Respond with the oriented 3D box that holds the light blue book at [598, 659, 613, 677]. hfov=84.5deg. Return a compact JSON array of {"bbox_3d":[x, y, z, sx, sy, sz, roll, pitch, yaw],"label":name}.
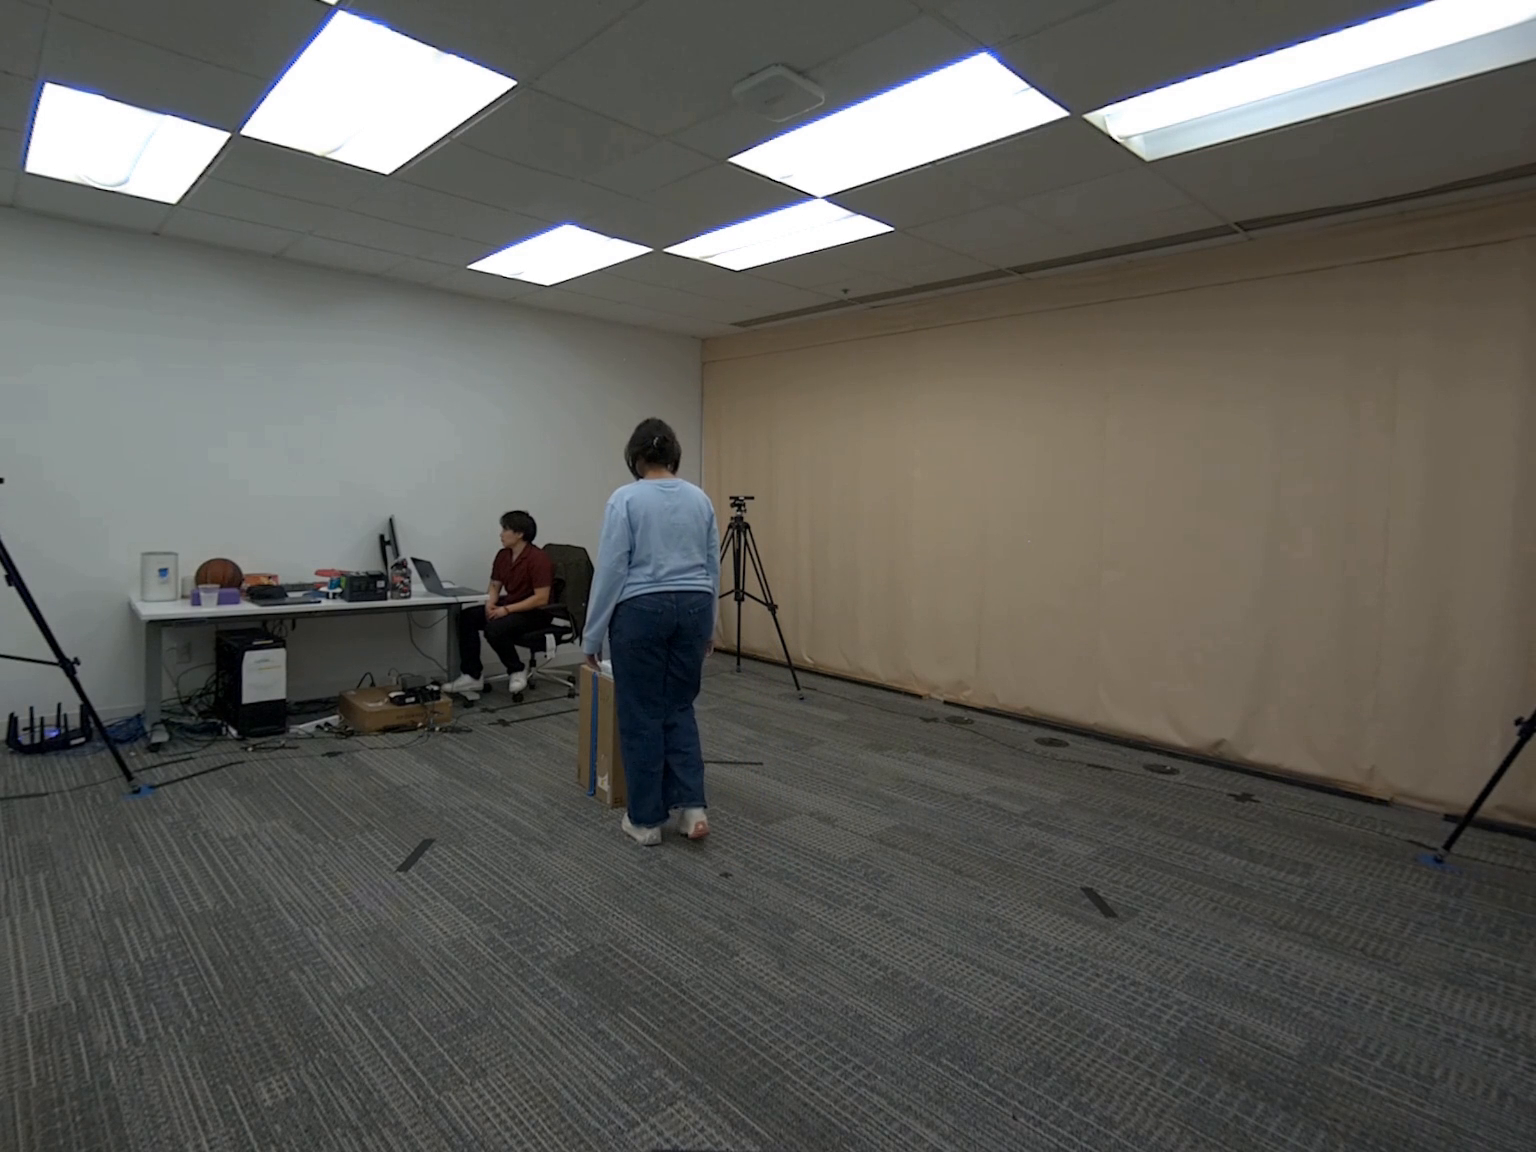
[{"bbox_3d":[-0.638,0.432,3.856,0.187,0.059,0.267,-1,5,-35],"label":"light blue book"}]
